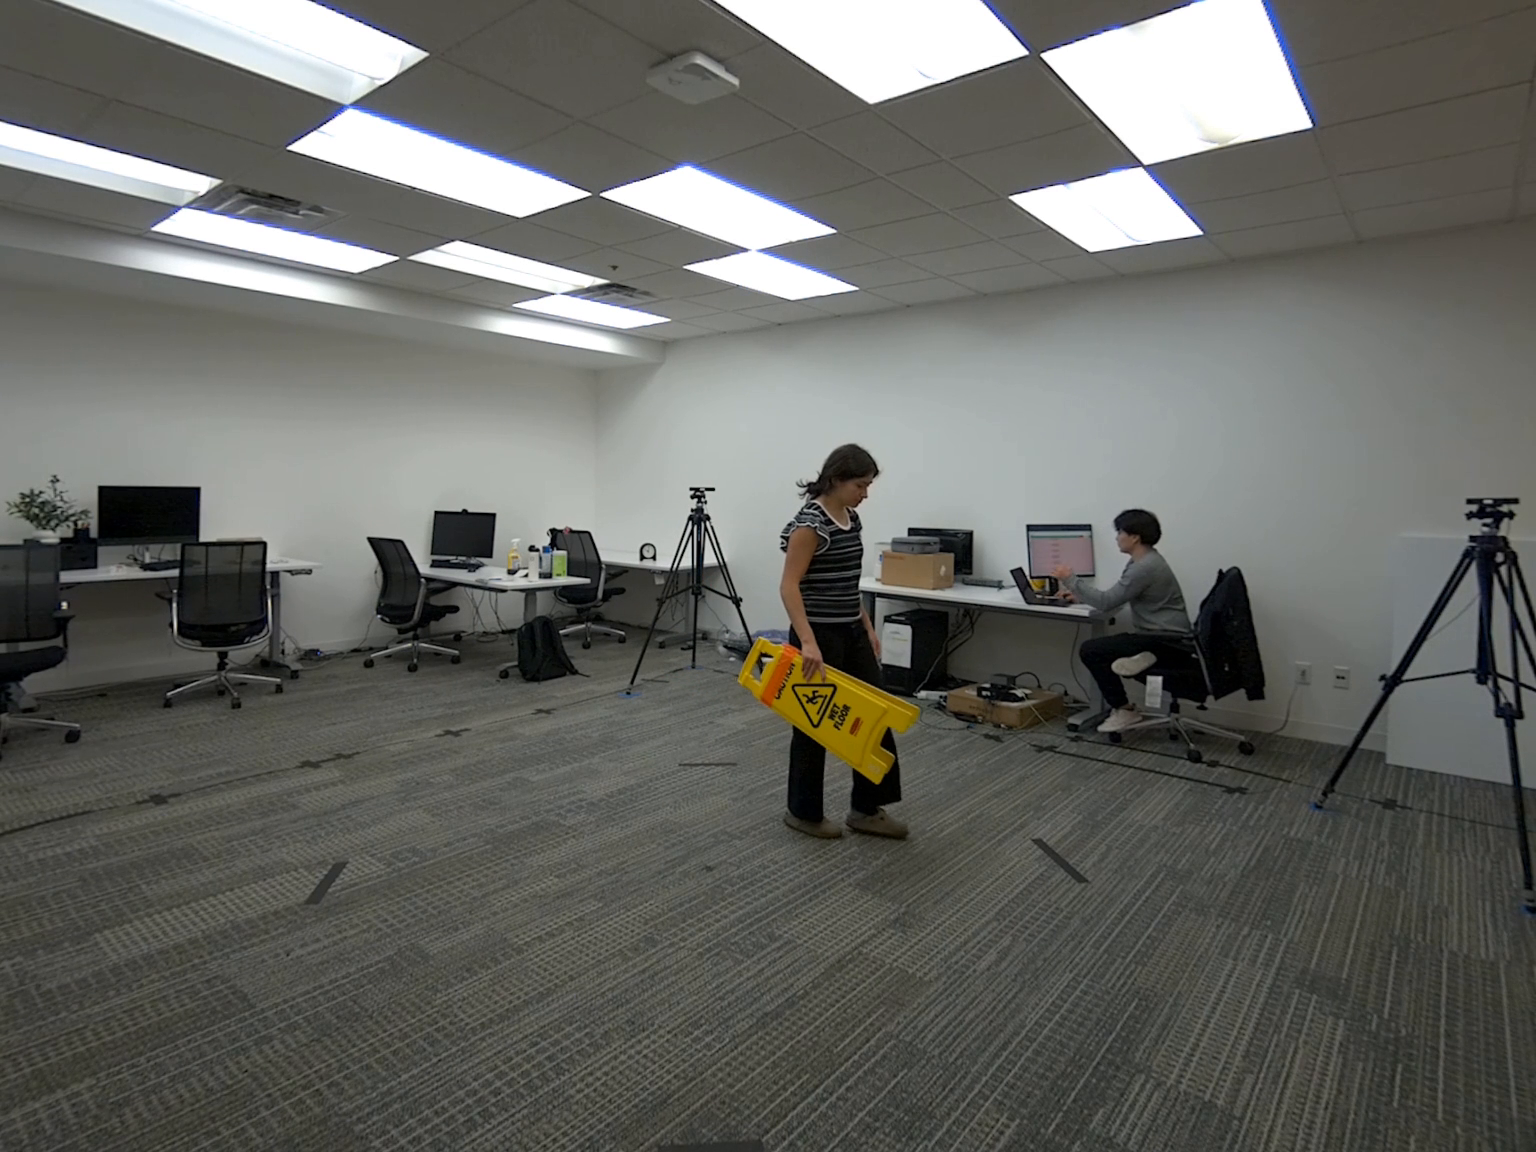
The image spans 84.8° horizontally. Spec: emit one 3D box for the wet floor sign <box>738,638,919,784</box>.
[{"bbox_3d":[0.188,0.460,3.172,0.662,0.281,0.283,28,6,18],"label":"wet floor sign"}]
